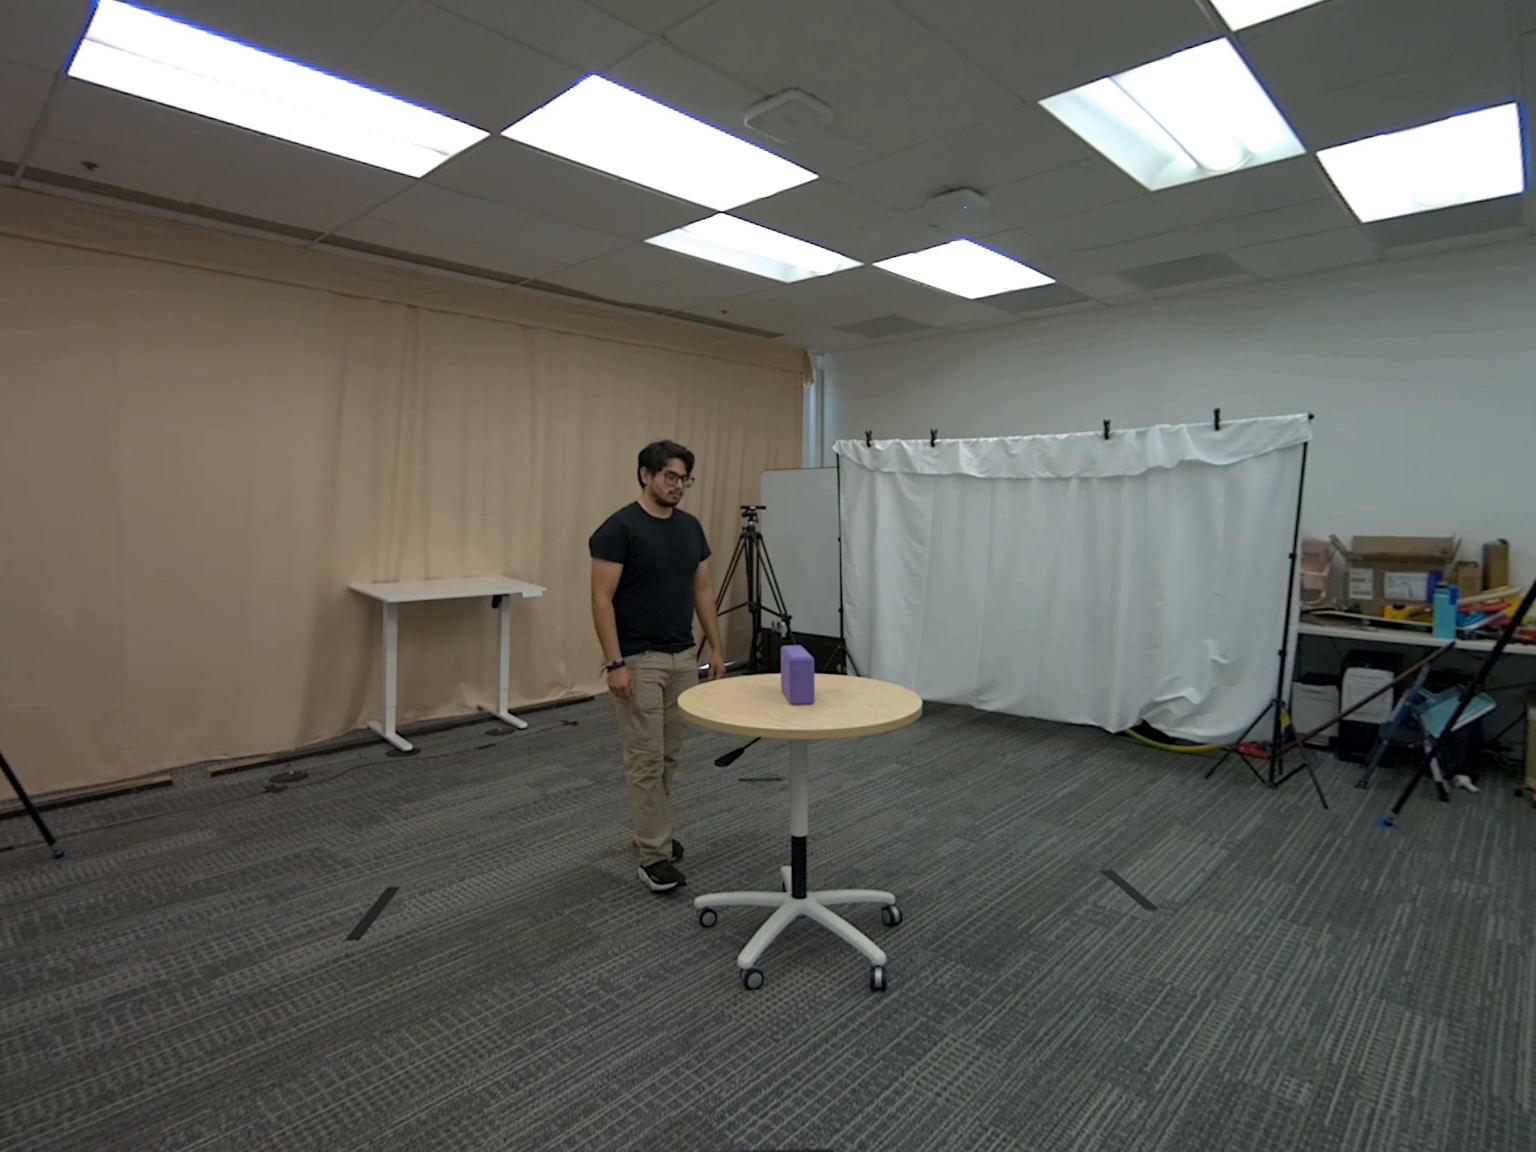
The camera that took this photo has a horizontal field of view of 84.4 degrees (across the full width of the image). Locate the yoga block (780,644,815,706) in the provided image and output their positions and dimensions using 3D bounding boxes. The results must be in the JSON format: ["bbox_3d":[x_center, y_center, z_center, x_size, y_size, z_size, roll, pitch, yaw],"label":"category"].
[{"bbox_3d":[0.097,0.311,2.666,0.076,0.149,0.231,1,4,-5],"label":"yoga block"}]
